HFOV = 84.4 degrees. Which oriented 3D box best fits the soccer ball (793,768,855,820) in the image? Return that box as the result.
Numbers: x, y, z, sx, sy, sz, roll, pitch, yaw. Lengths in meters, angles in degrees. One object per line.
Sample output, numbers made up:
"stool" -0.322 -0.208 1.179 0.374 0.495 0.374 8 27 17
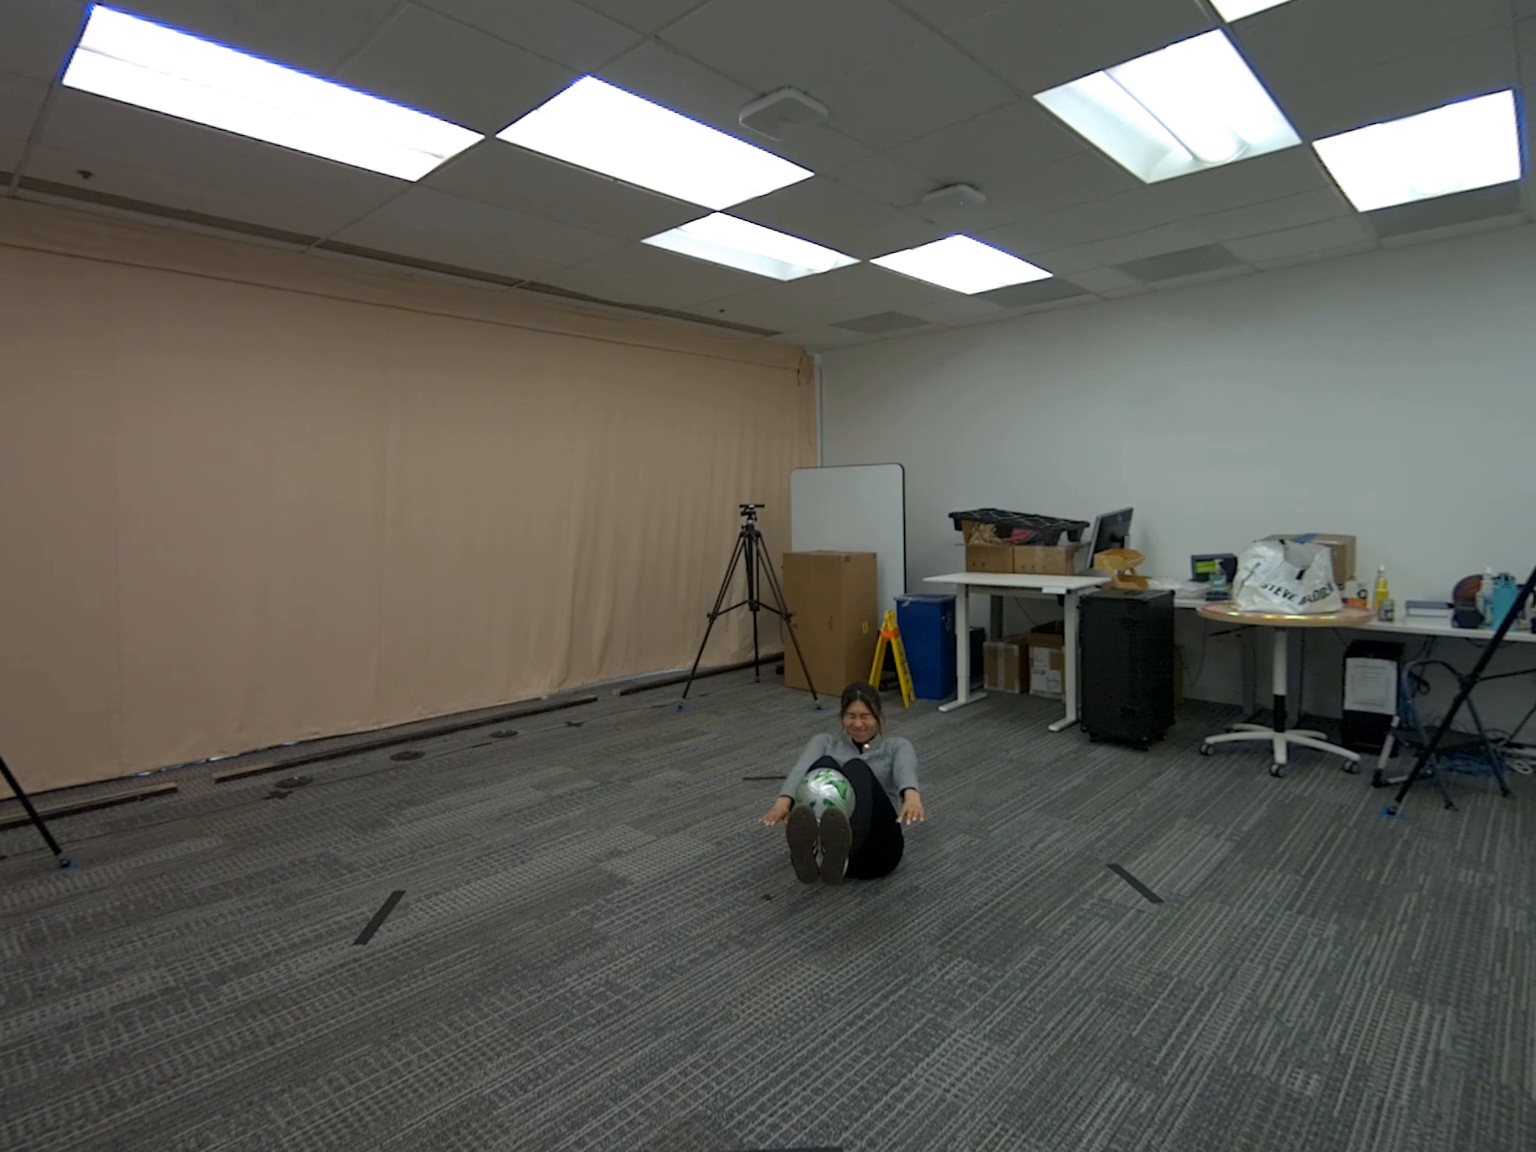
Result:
"soccer ball" 0.188 0.700 2.628 0.187 0.187 0.188 -1 4 -2
